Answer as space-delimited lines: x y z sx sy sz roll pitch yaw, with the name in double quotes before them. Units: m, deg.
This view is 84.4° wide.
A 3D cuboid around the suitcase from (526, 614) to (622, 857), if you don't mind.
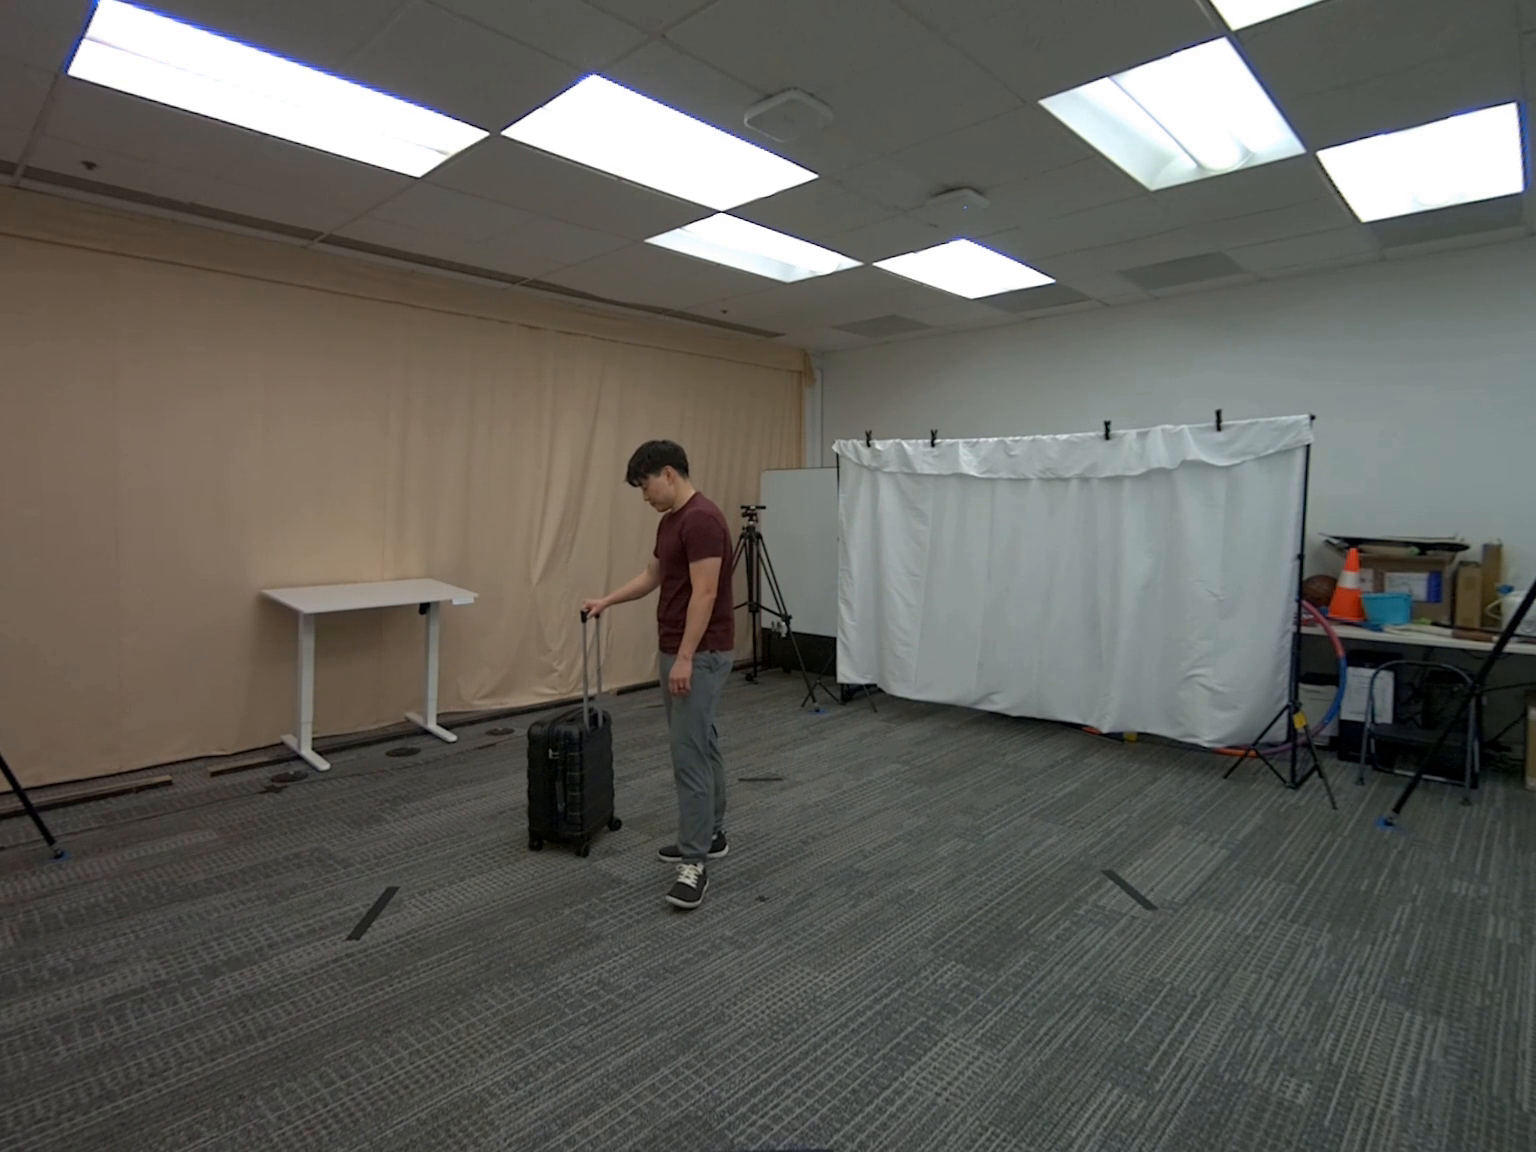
"suitcase" -0.826 0.633 3.496 0.261 0.976 0.378 -2 4 15
